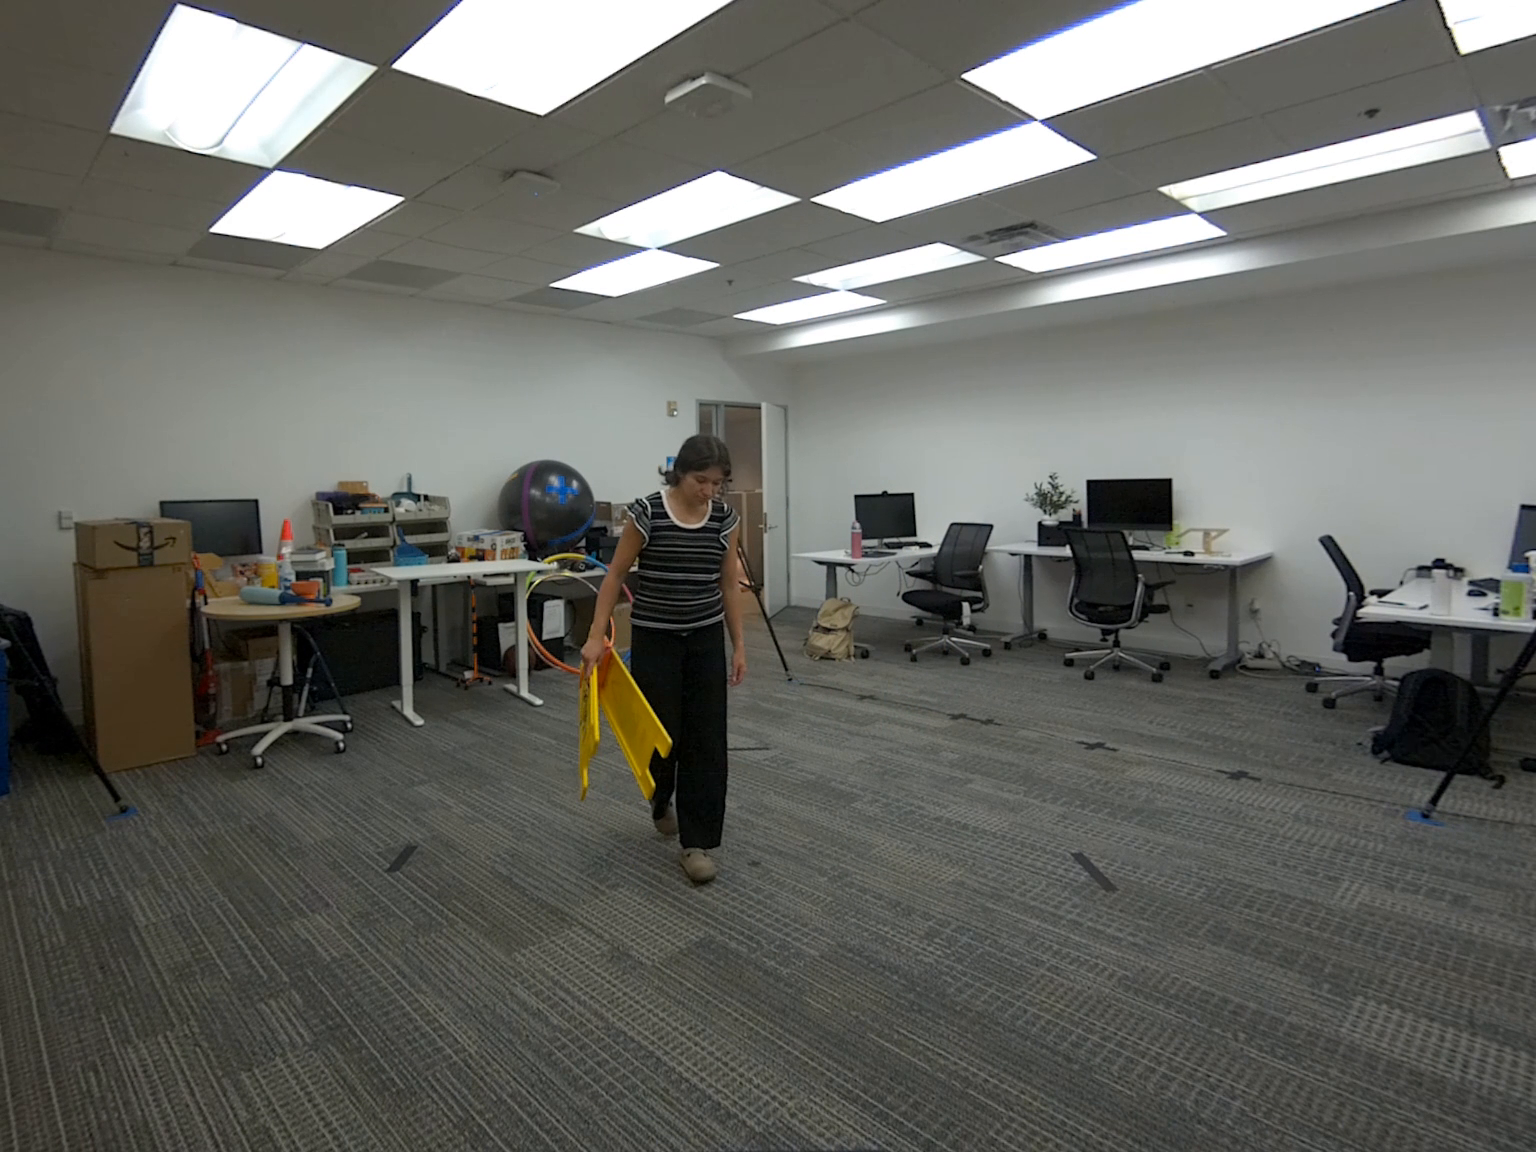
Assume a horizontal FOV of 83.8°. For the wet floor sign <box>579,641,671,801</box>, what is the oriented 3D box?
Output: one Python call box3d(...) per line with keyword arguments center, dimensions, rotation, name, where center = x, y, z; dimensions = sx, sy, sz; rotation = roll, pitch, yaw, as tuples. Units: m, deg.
box3d(center=(-0.570, 0.445, 2.999), dimensions=(0.283, 0.278, 0.671), rotation=(4, 34, -27), name="wet floor sign")
